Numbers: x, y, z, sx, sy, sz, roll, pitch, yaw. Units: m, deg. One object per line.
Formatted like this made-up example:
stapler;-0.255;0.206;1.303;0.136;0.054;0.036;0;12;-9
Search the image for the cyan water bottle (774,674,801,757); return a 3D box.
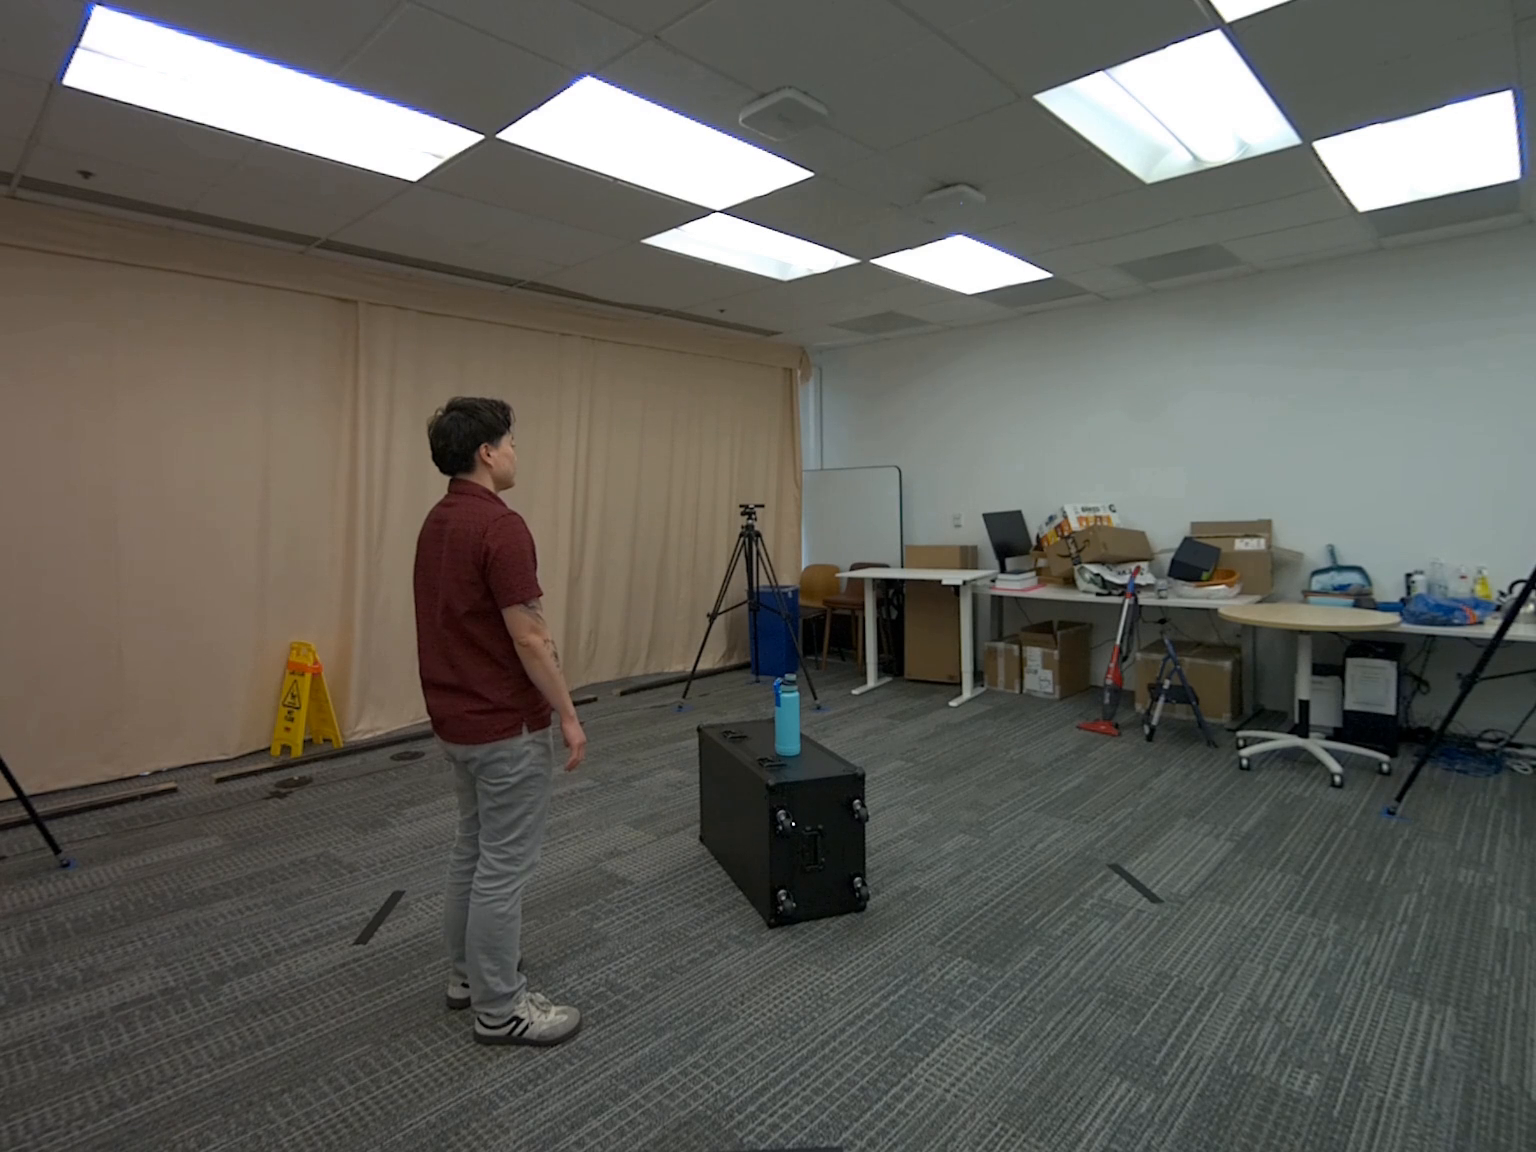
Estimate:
cyan water bottle;0.074;0.504;3.077;0.092;0.282;0.093;-2;4;-2
